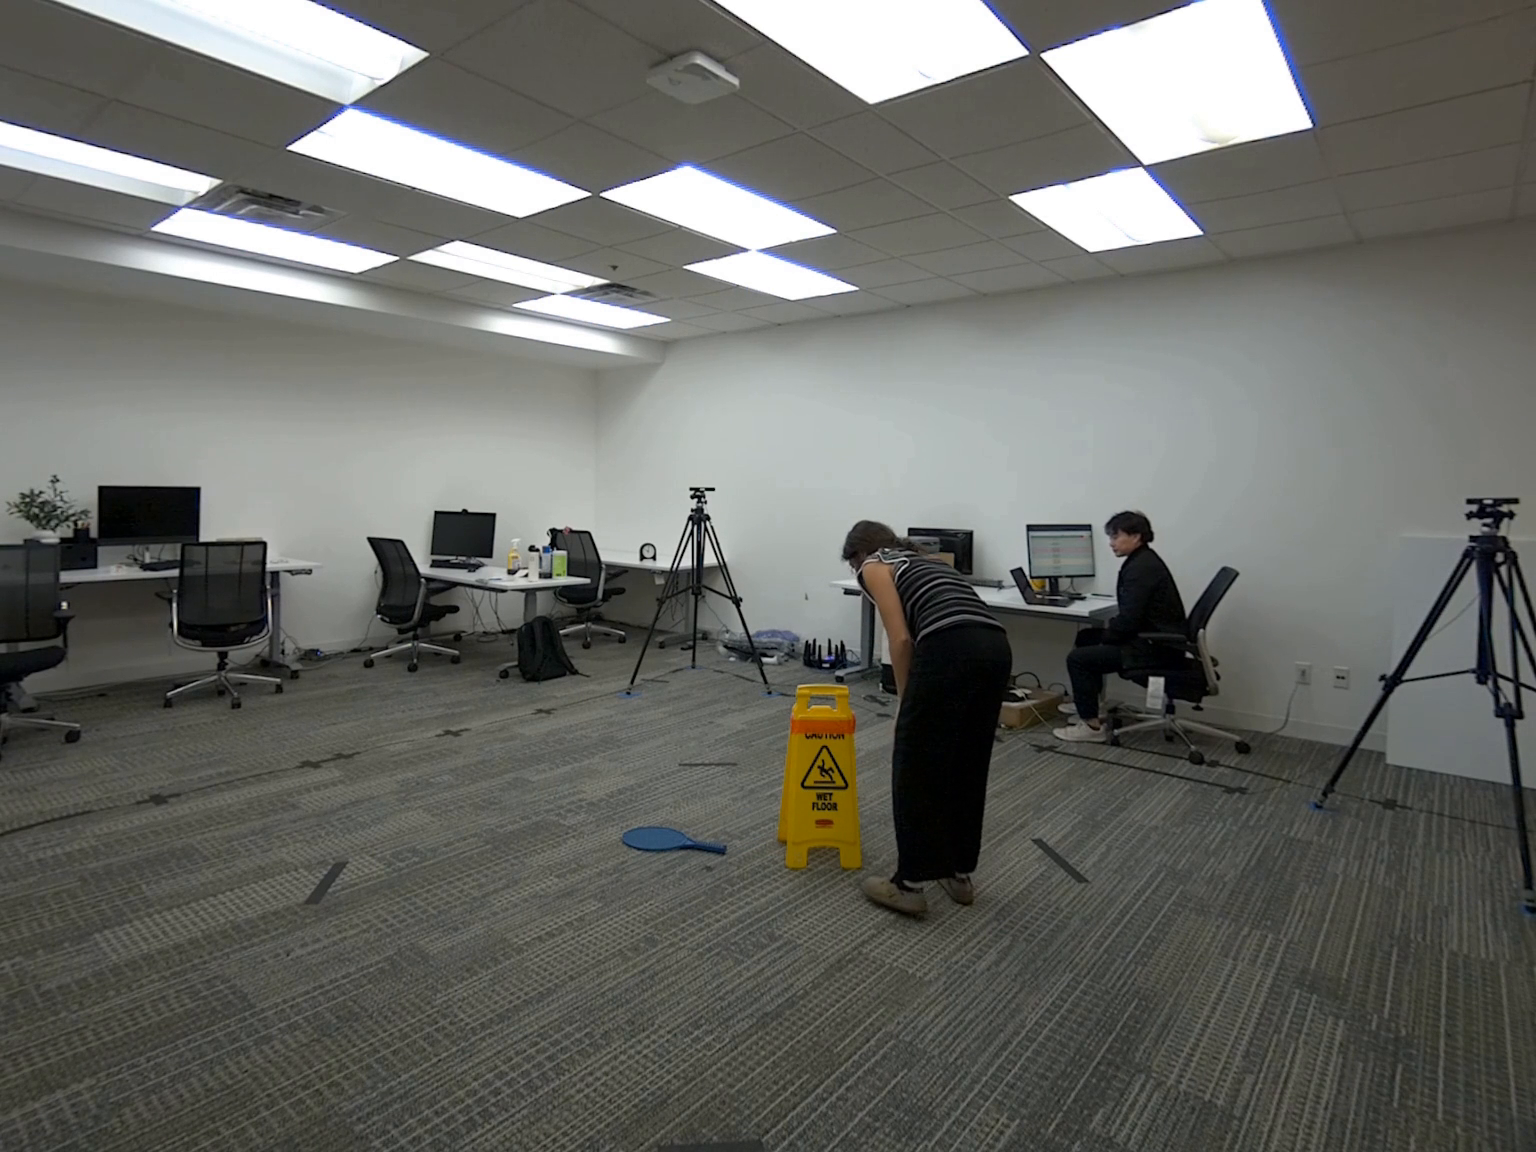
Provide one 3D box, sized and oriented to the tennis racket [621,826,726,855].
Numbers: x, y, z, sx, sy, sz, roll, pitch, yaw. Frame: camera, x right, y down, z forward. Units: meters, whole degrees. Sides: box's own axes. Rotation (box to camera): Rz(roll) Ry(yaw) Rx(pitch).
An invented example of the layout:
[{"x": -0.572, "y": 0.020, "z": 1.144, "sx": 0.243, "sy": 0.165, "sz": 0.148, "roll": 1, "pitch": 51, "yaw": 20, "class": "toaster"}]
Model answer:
[{"x": -0.380, "y": 1.030, "z": 3.319, "sx": 0.442, "sy": 0.031, "sz": 0.210, "roll": 2, "pitch": 6, "yaw": 19, "class": "tennis racket"}]
